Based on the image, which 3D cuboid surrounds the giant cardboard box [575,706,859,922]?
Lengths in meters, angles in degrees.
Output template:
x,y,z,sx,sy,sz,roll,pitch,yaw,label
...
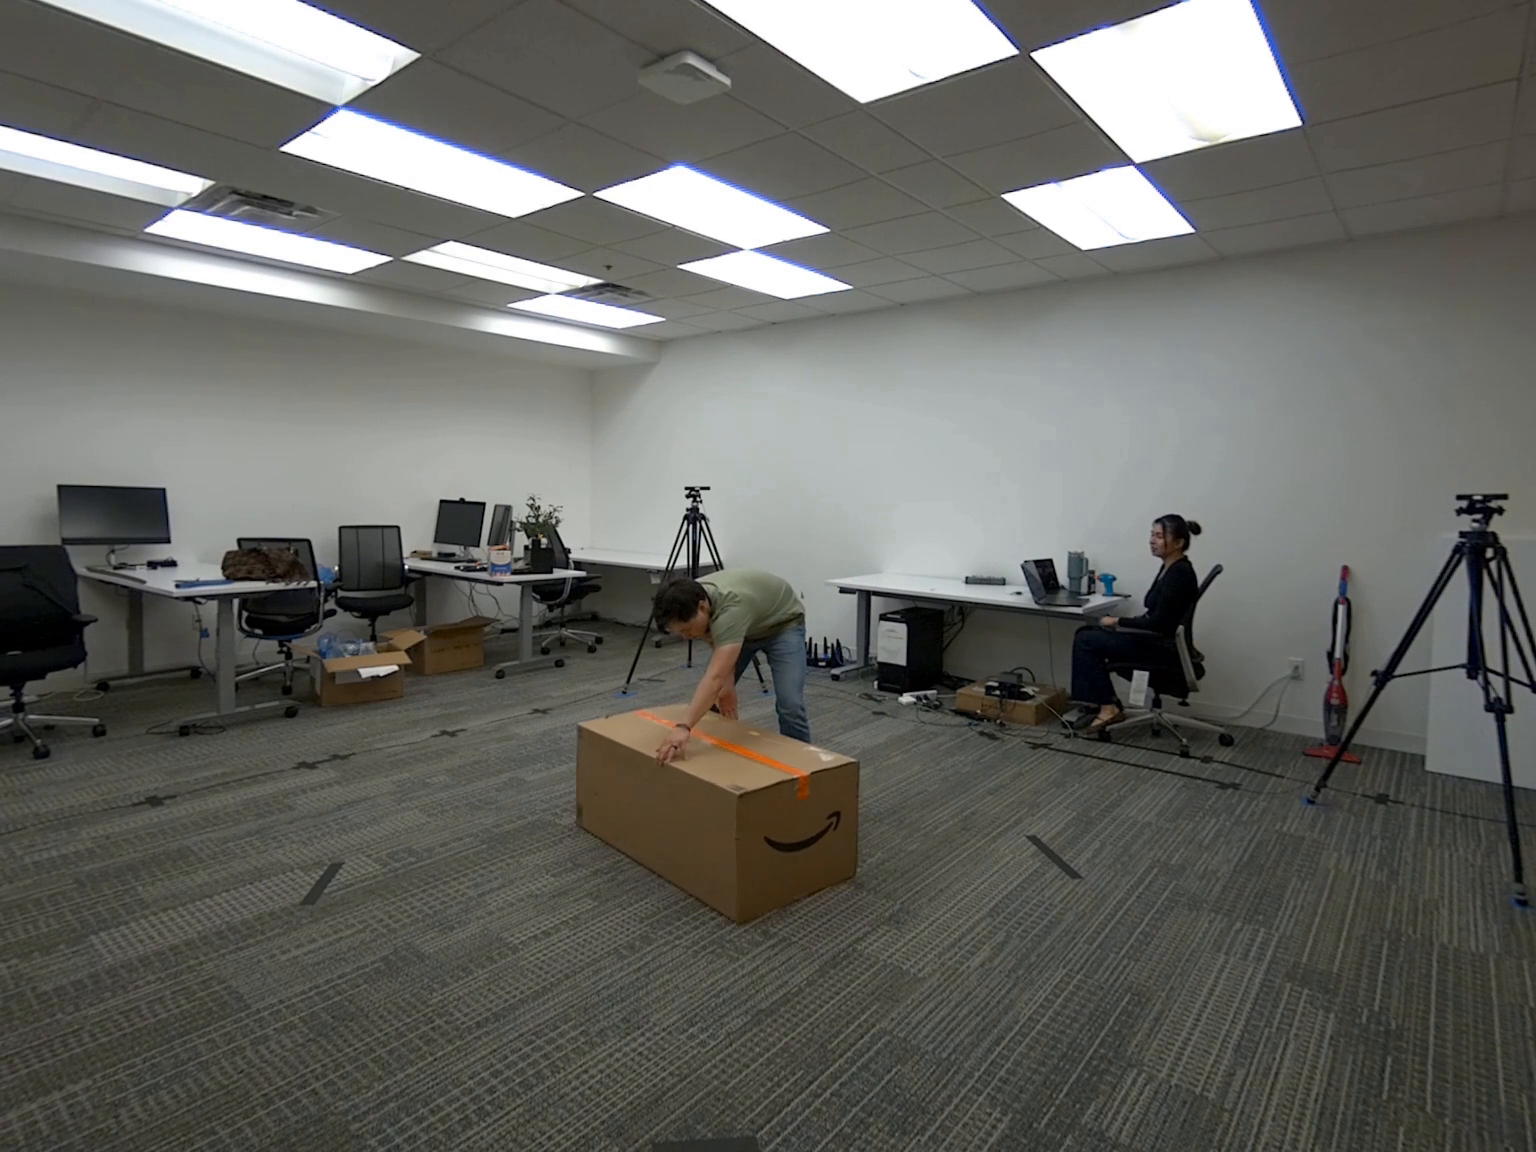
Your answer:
x,y,z,sx,sy,sz,roll,pitch,yaw,label
-0.242,0.834,3.255,0.560,0.425,1.061,-2,6,-41,giant cardboard box
